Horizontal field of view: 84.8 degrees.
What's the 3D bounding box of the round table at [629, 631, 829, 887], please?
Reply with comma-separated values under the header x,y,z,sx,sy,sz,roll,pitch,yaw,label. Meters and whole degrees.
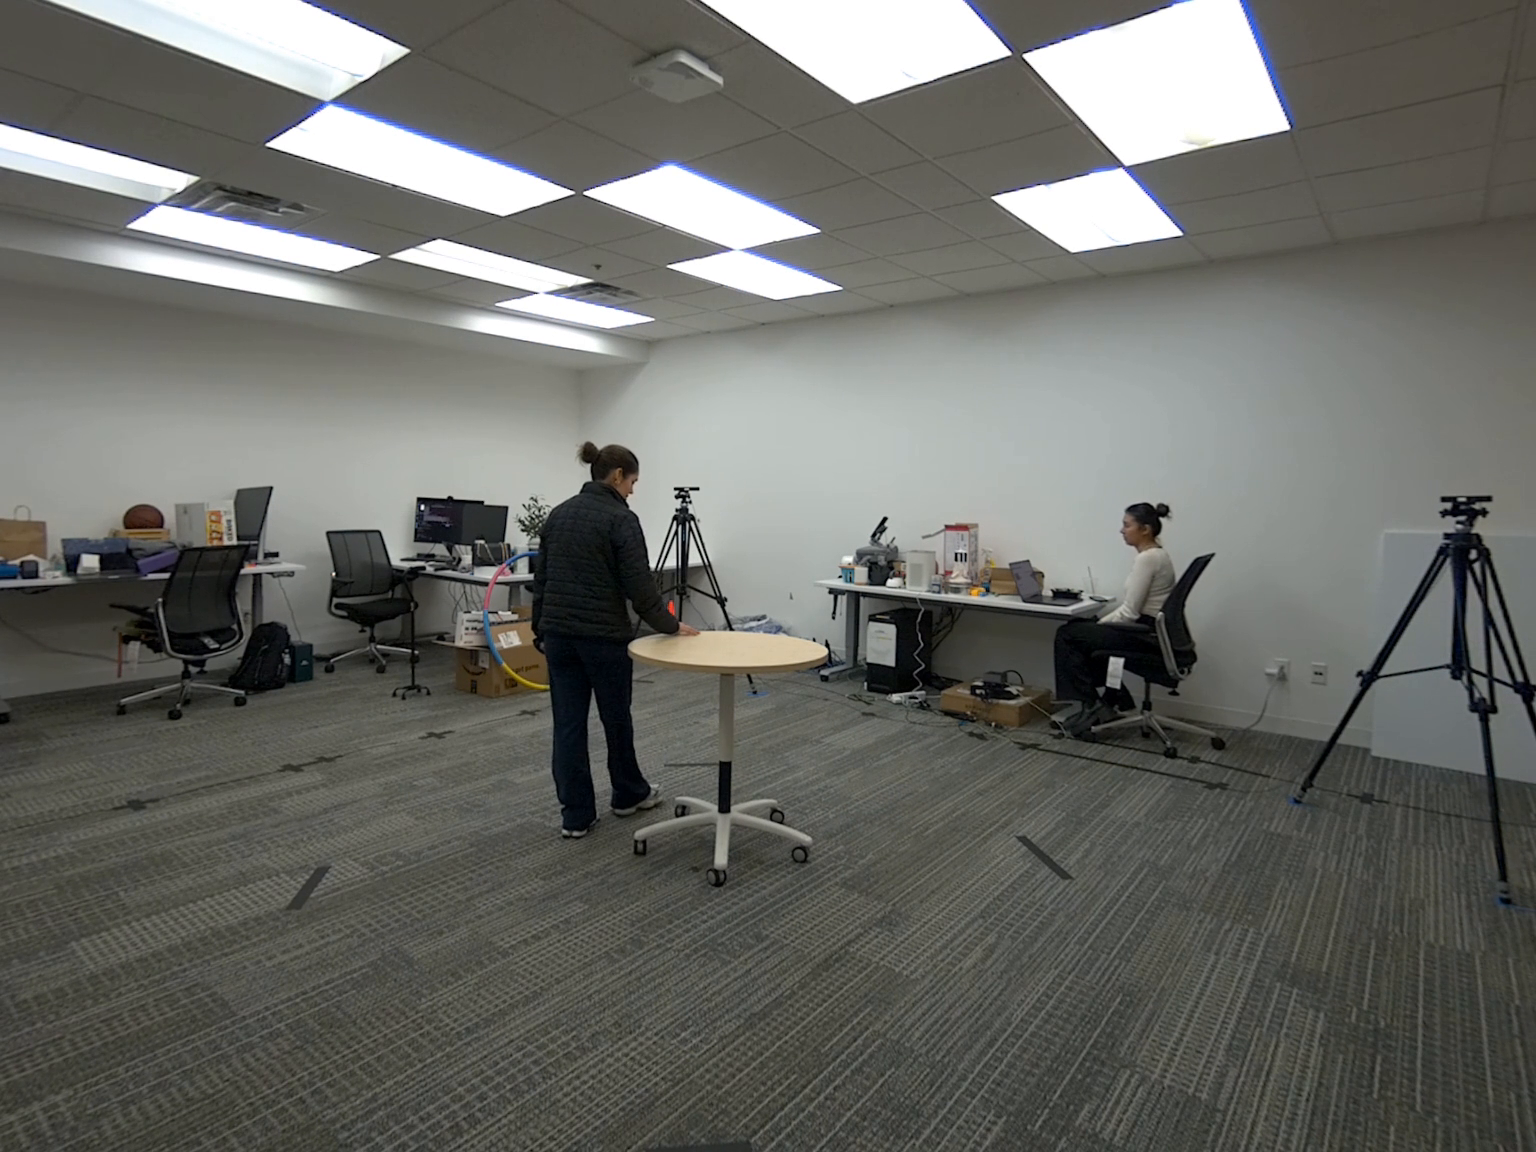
x,y,z,sx,sy,sz,roll,pitch,yaw,label
-0.136,0.656,3.285,0.784,0.784,0.789,1,4,-2,round table
